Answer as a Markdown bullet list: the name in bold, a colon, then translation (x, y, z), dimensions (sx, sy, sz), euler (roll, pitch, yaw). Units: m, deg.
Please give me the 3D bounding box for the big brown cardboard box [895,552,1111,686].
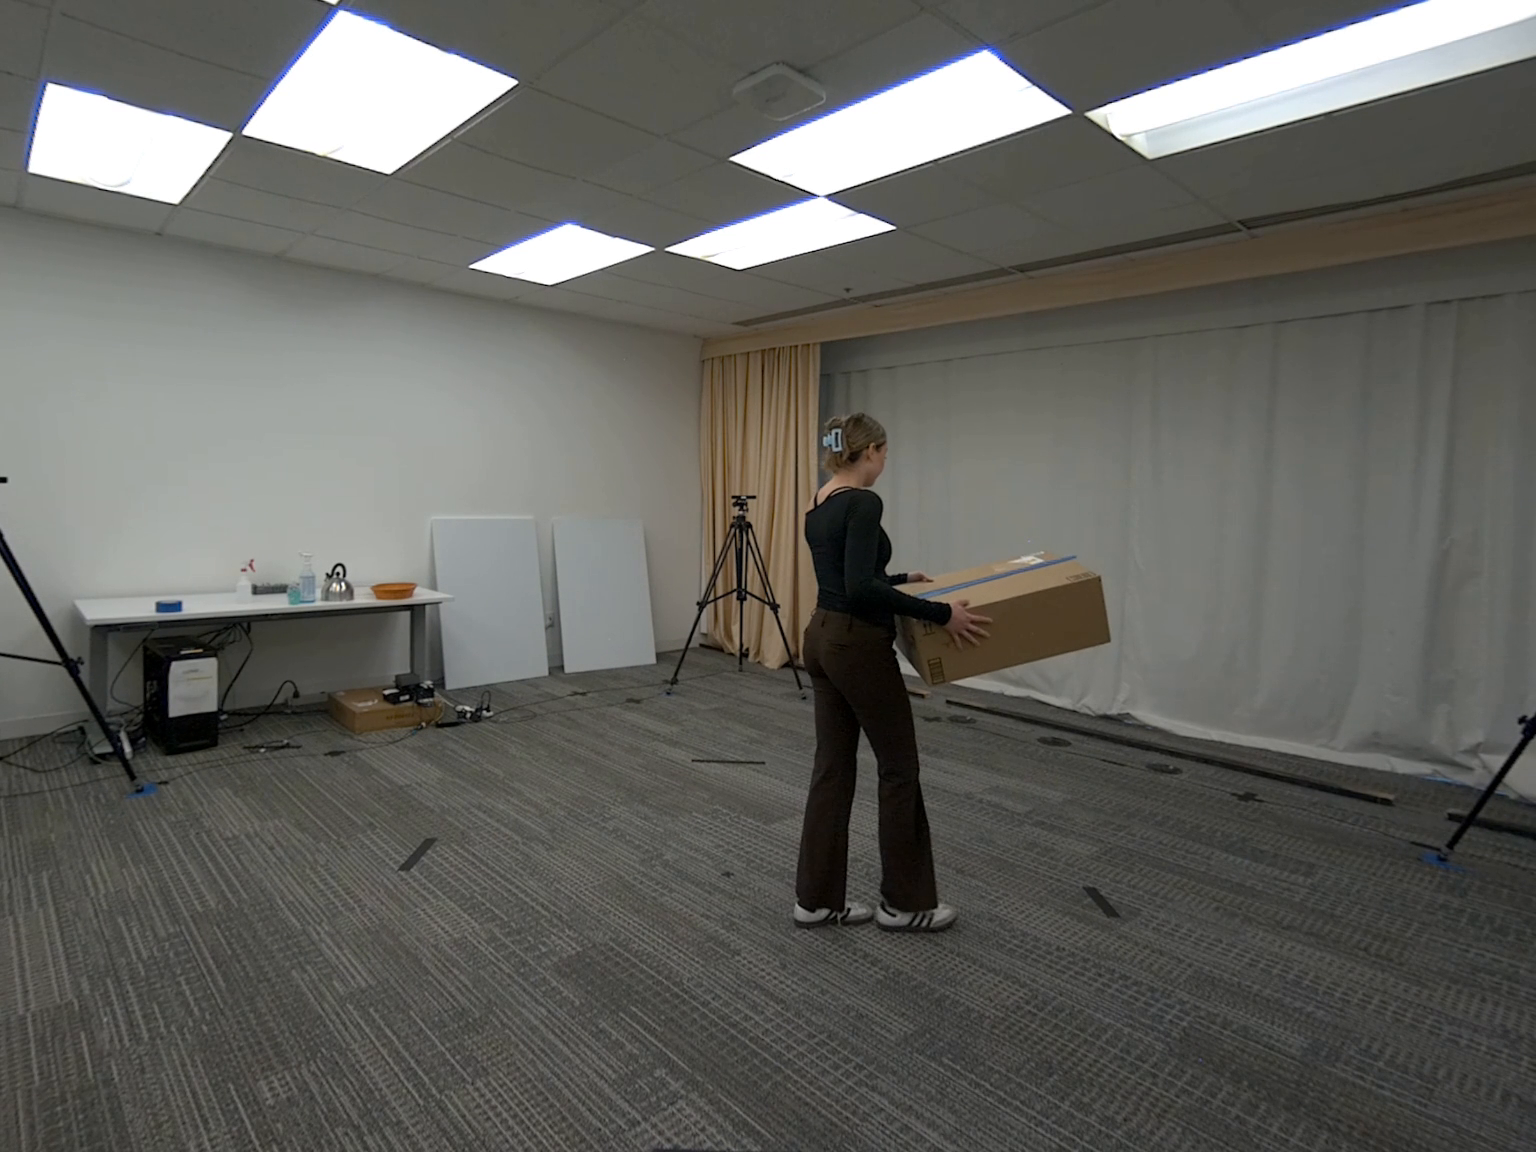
- **big brown cardboard box**: translation (0.717, 0.118, 2.687), dimensions (0.588, 0.231, 0.423), euler (-14, 12, -4)
